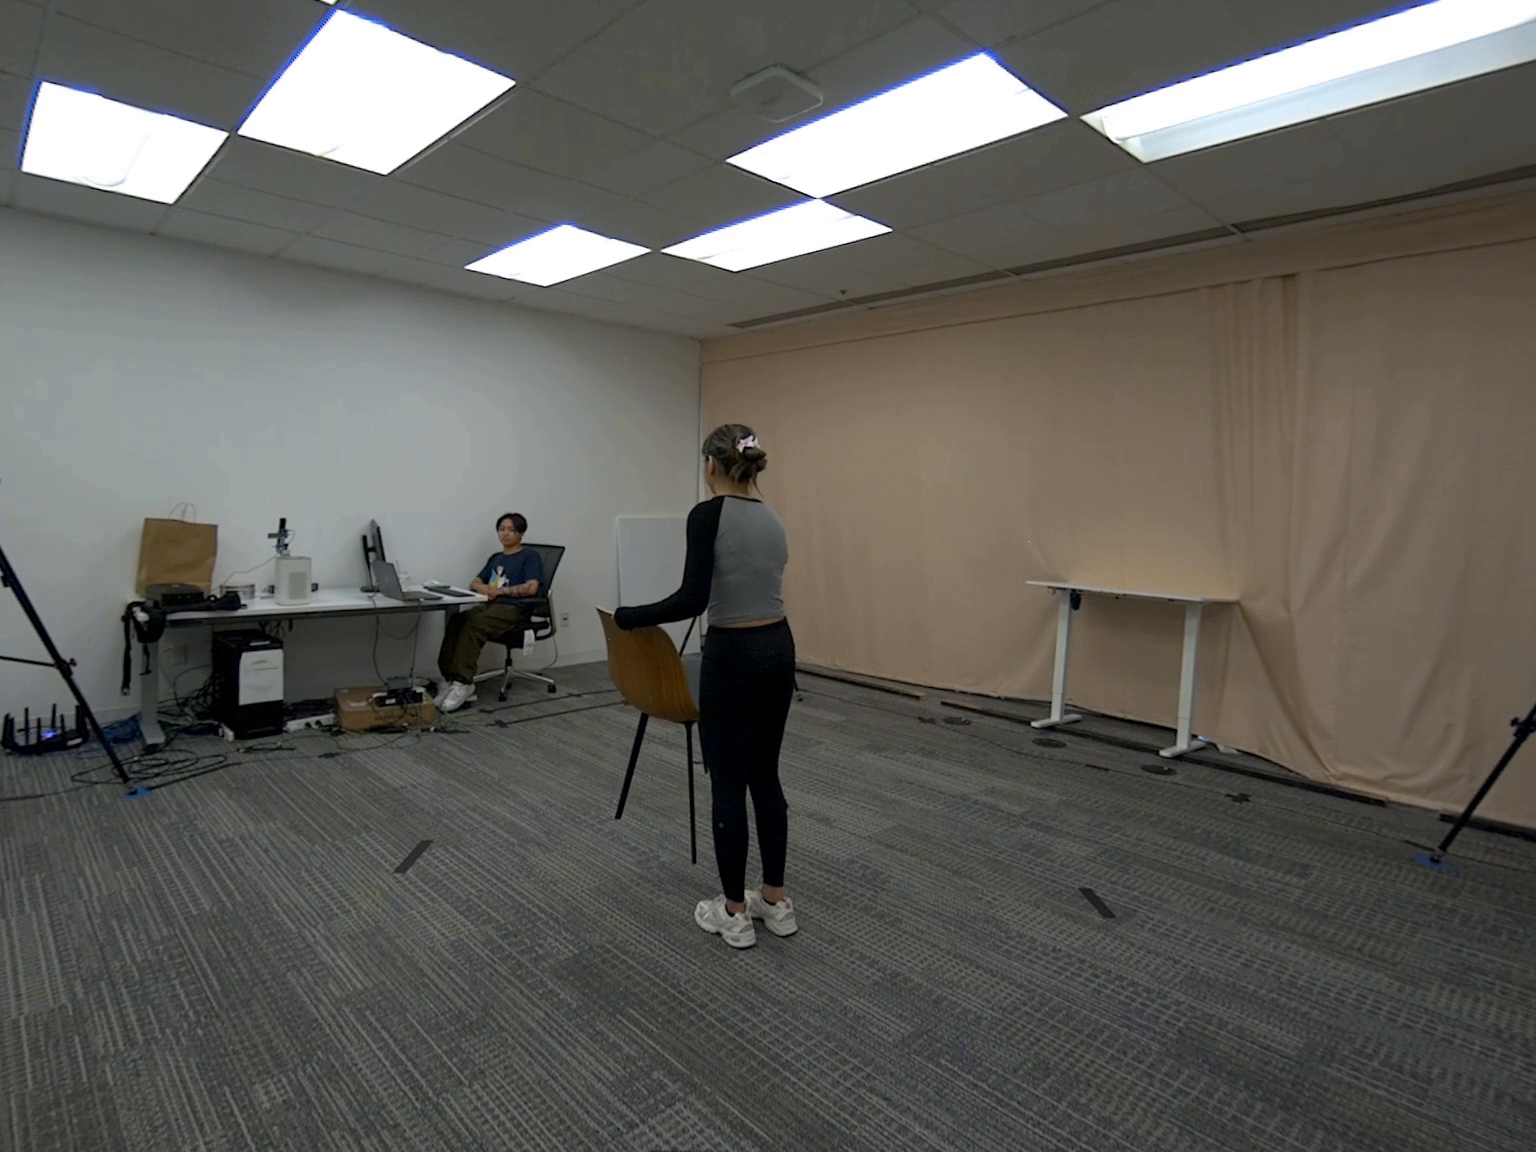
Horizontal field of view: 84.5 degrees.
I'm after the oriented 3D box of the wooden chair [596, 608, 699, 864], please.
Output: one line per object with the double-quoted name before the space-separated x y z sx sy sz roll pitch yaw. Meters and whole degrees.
"wooden chair" -0.282 0.459 2.987 0.516 0.866 0.491 -21 21 -41
